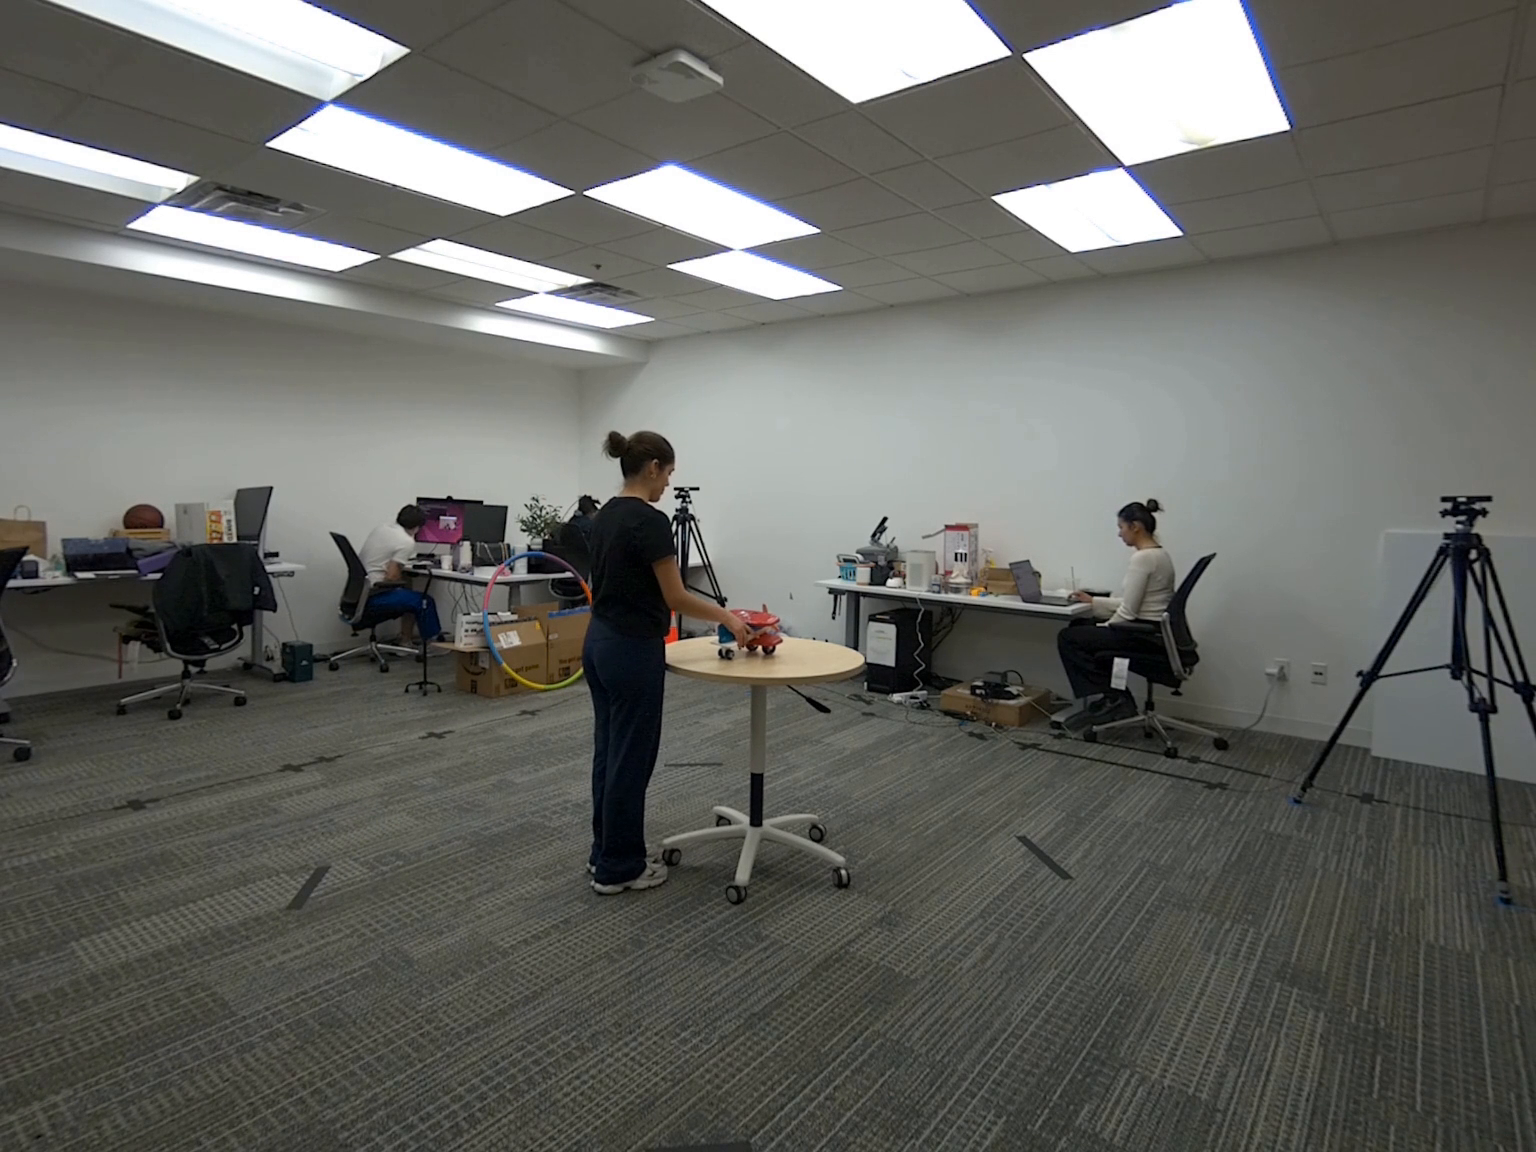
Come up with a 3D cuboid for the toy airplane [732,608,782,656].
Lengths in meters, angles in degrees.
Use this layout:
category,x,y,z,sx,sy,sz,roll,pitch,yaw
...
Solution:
category,x,y,z,sx,sy,sz,roll,pitch,yaw
toy airplane,-0.061,0.214,3.099,0.256,0.156,0.255,2,4,18
